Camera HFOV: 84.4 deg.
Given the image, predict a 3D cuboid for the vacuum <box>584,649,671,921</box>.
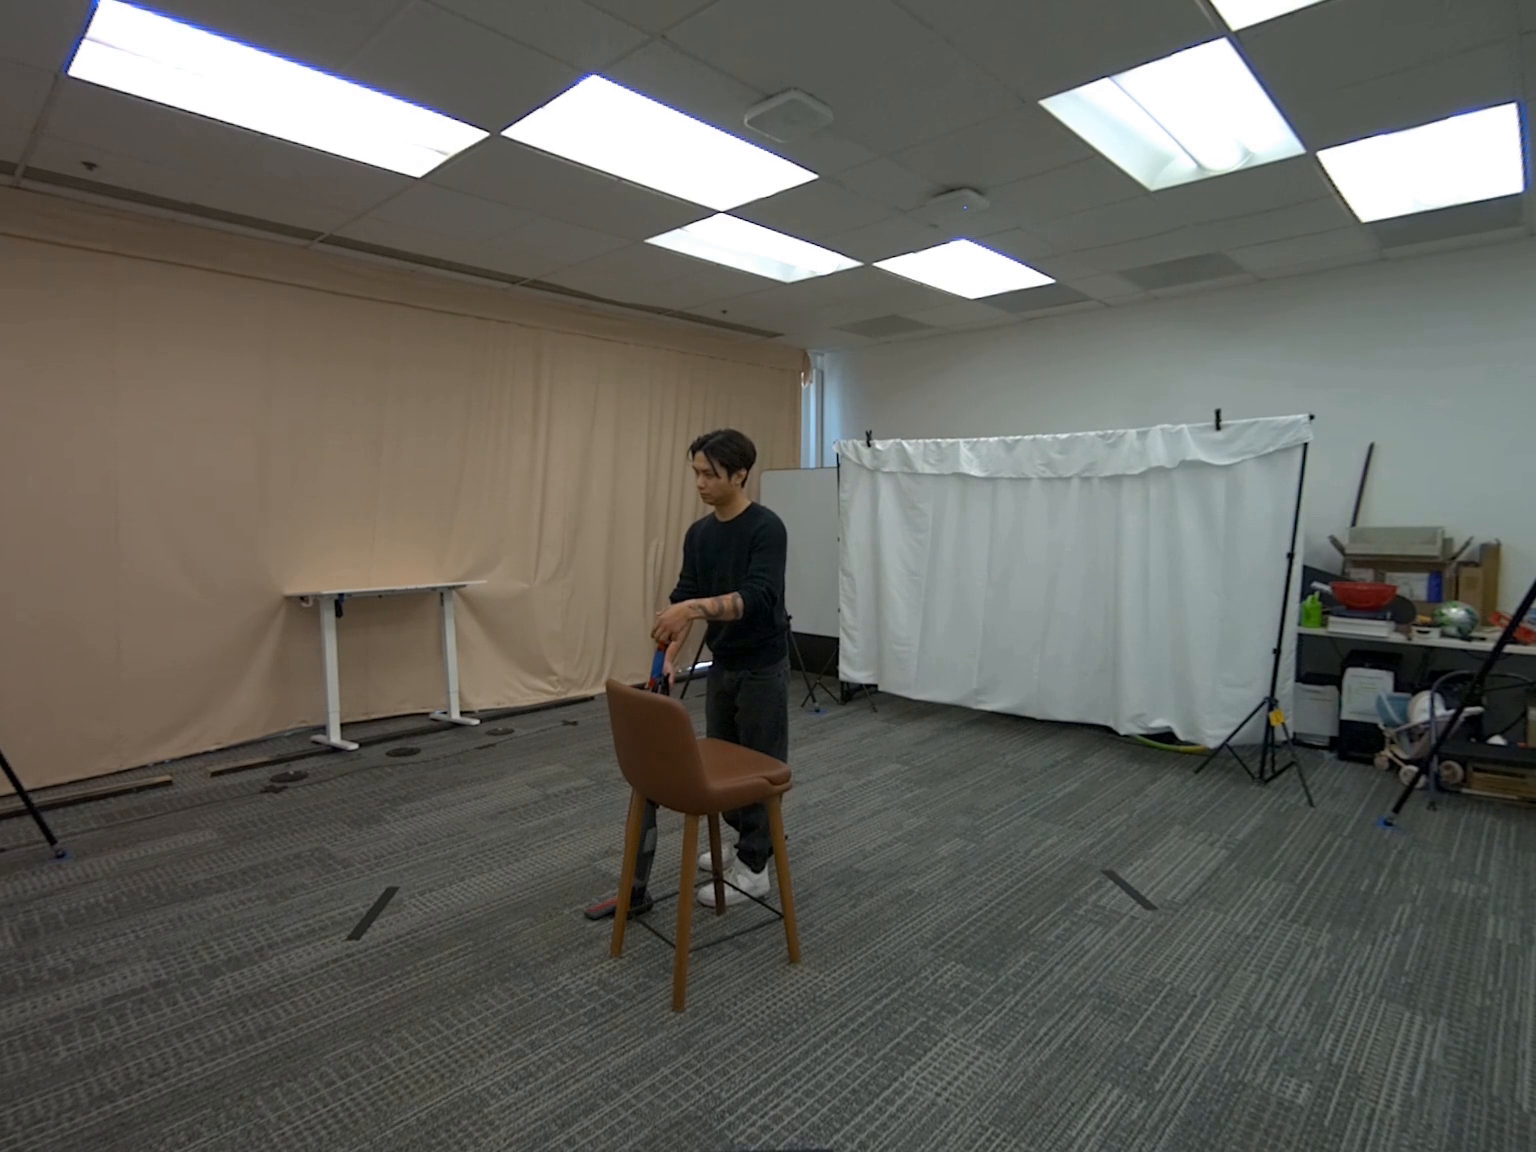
[{"bbox_3d":[-0.387,0.646,2.762,0.149,1.043,0.245,20,17,40],"label":"vacuum"}]
